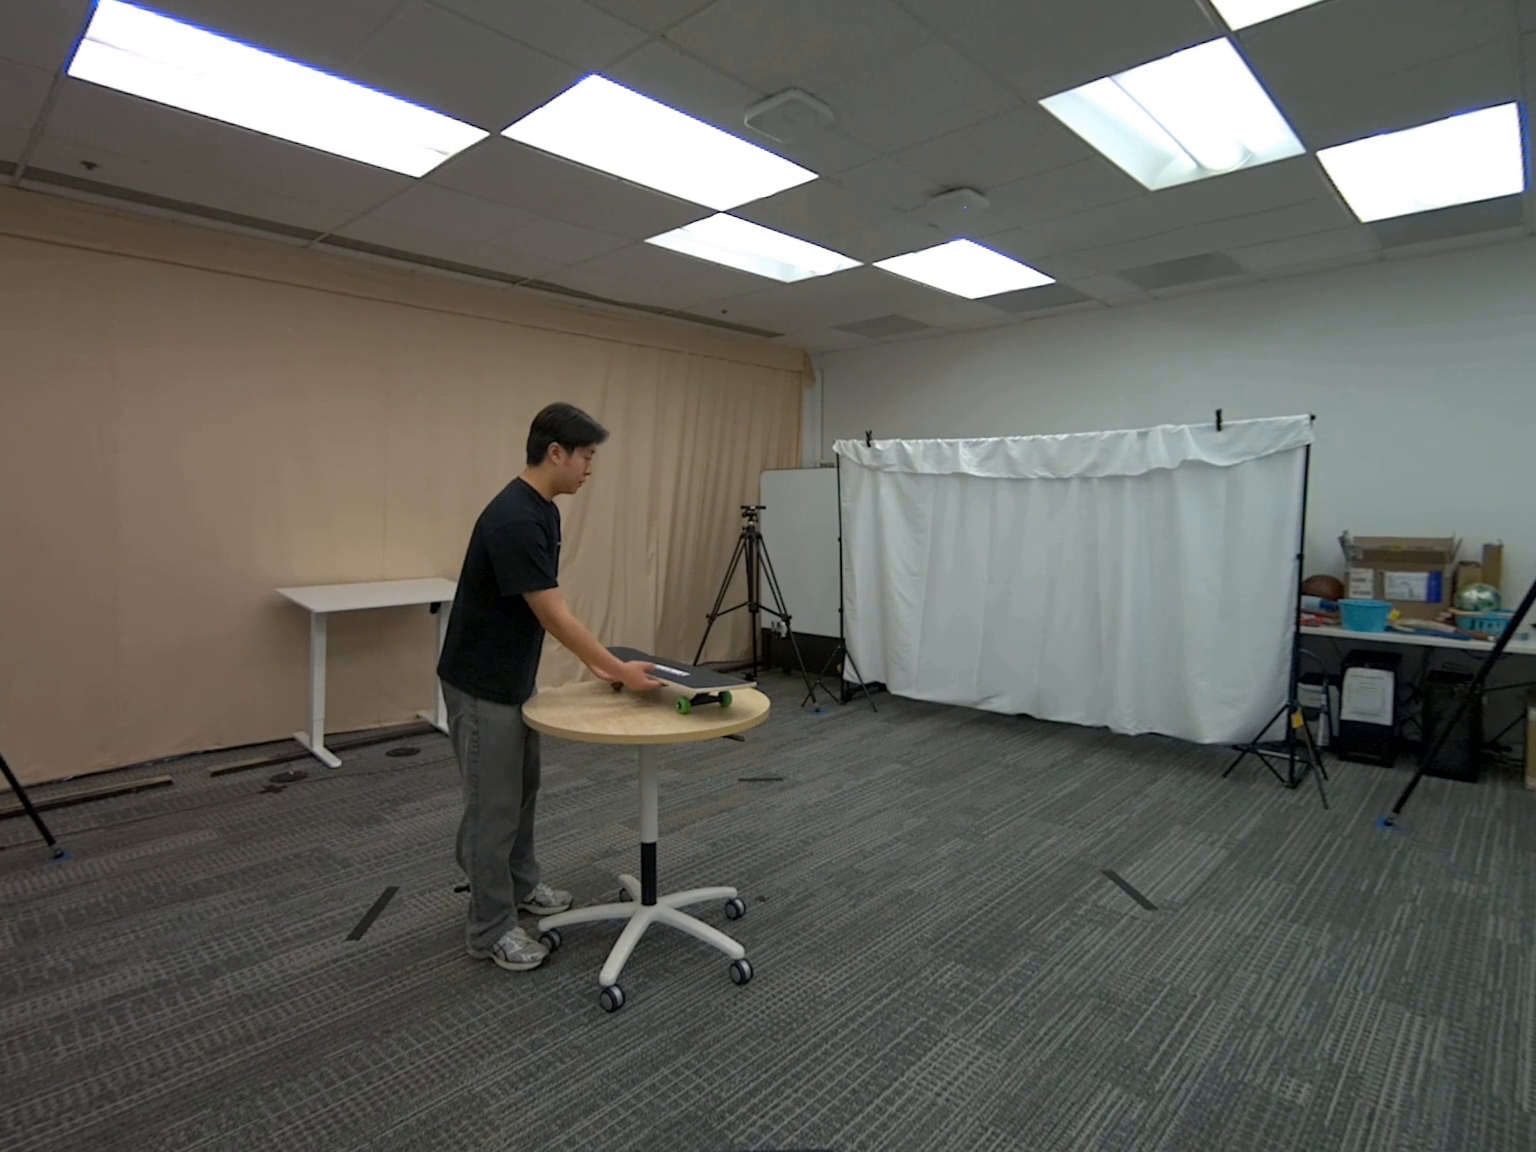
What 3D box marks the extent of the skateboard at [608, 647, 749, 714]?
[{"bbox_3d":[-0.313,0.334,2.684,0.188,0.110,0.811,-3,5,-37],"label":"skateboard"}]
